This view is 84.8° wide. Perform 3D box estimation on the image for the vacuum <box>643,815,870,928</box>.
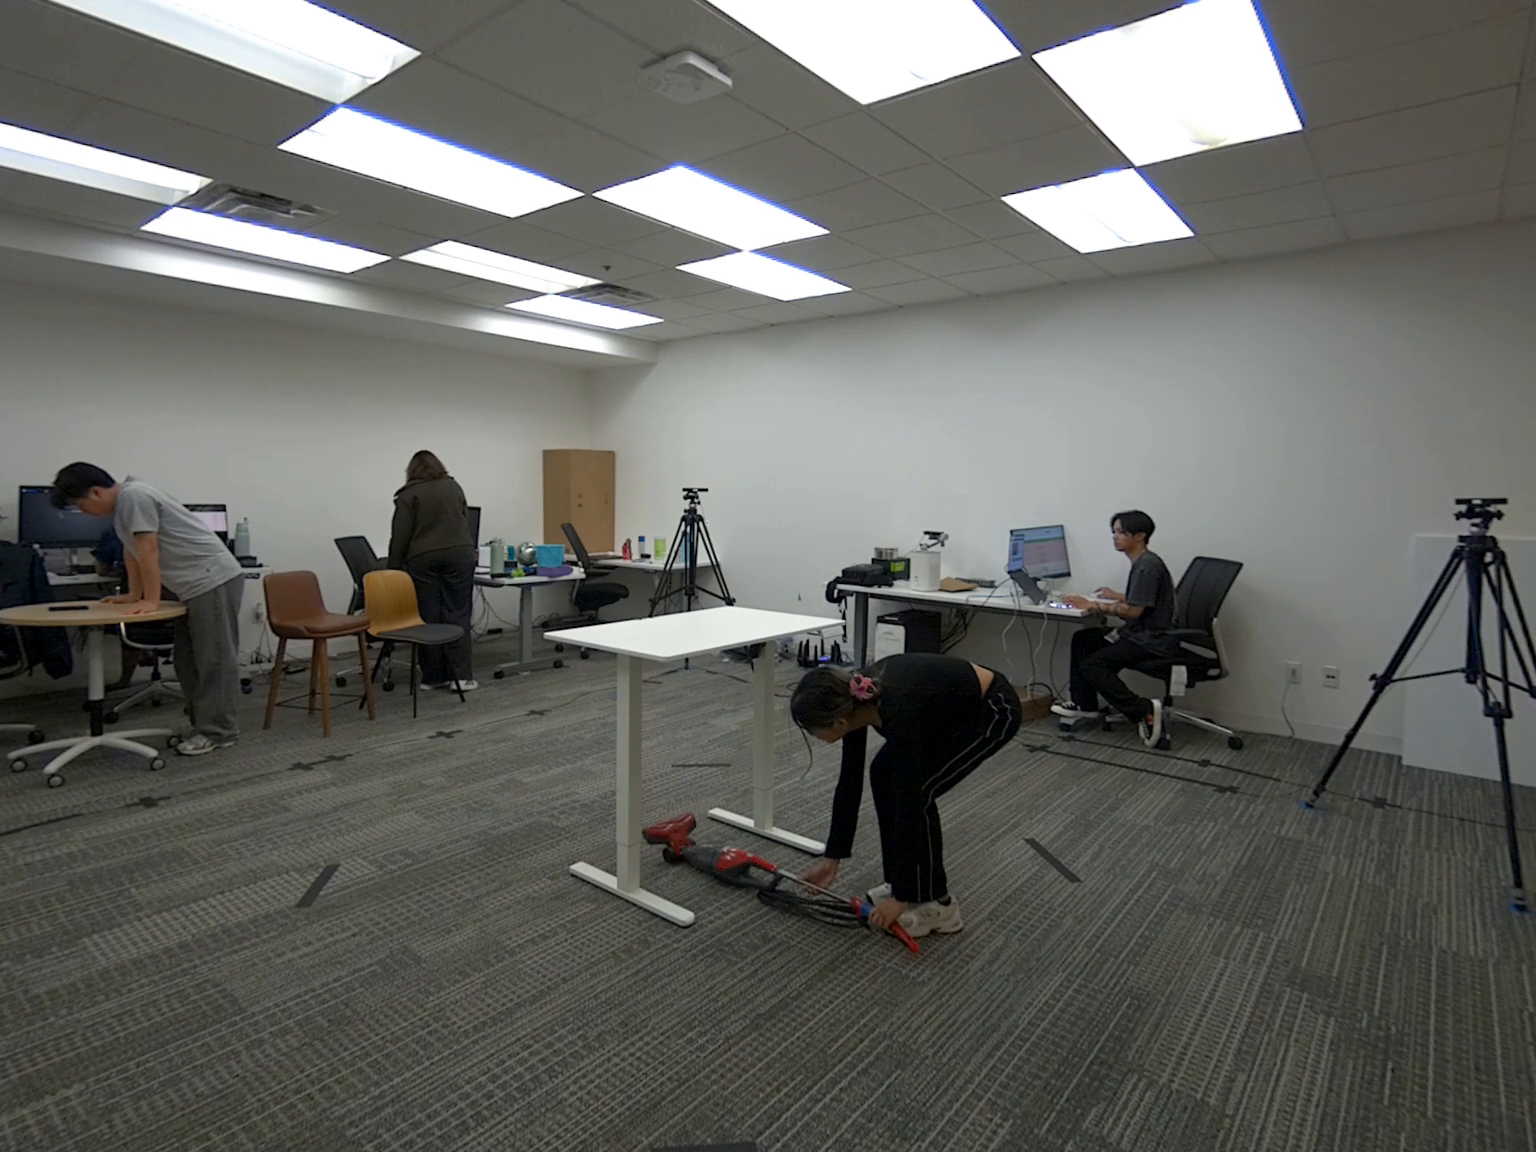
[{"bbox_3d":[0.033,1.042,2.862,1.086,0.143,0.245,7,6,42],"label":"vacuum"}]
